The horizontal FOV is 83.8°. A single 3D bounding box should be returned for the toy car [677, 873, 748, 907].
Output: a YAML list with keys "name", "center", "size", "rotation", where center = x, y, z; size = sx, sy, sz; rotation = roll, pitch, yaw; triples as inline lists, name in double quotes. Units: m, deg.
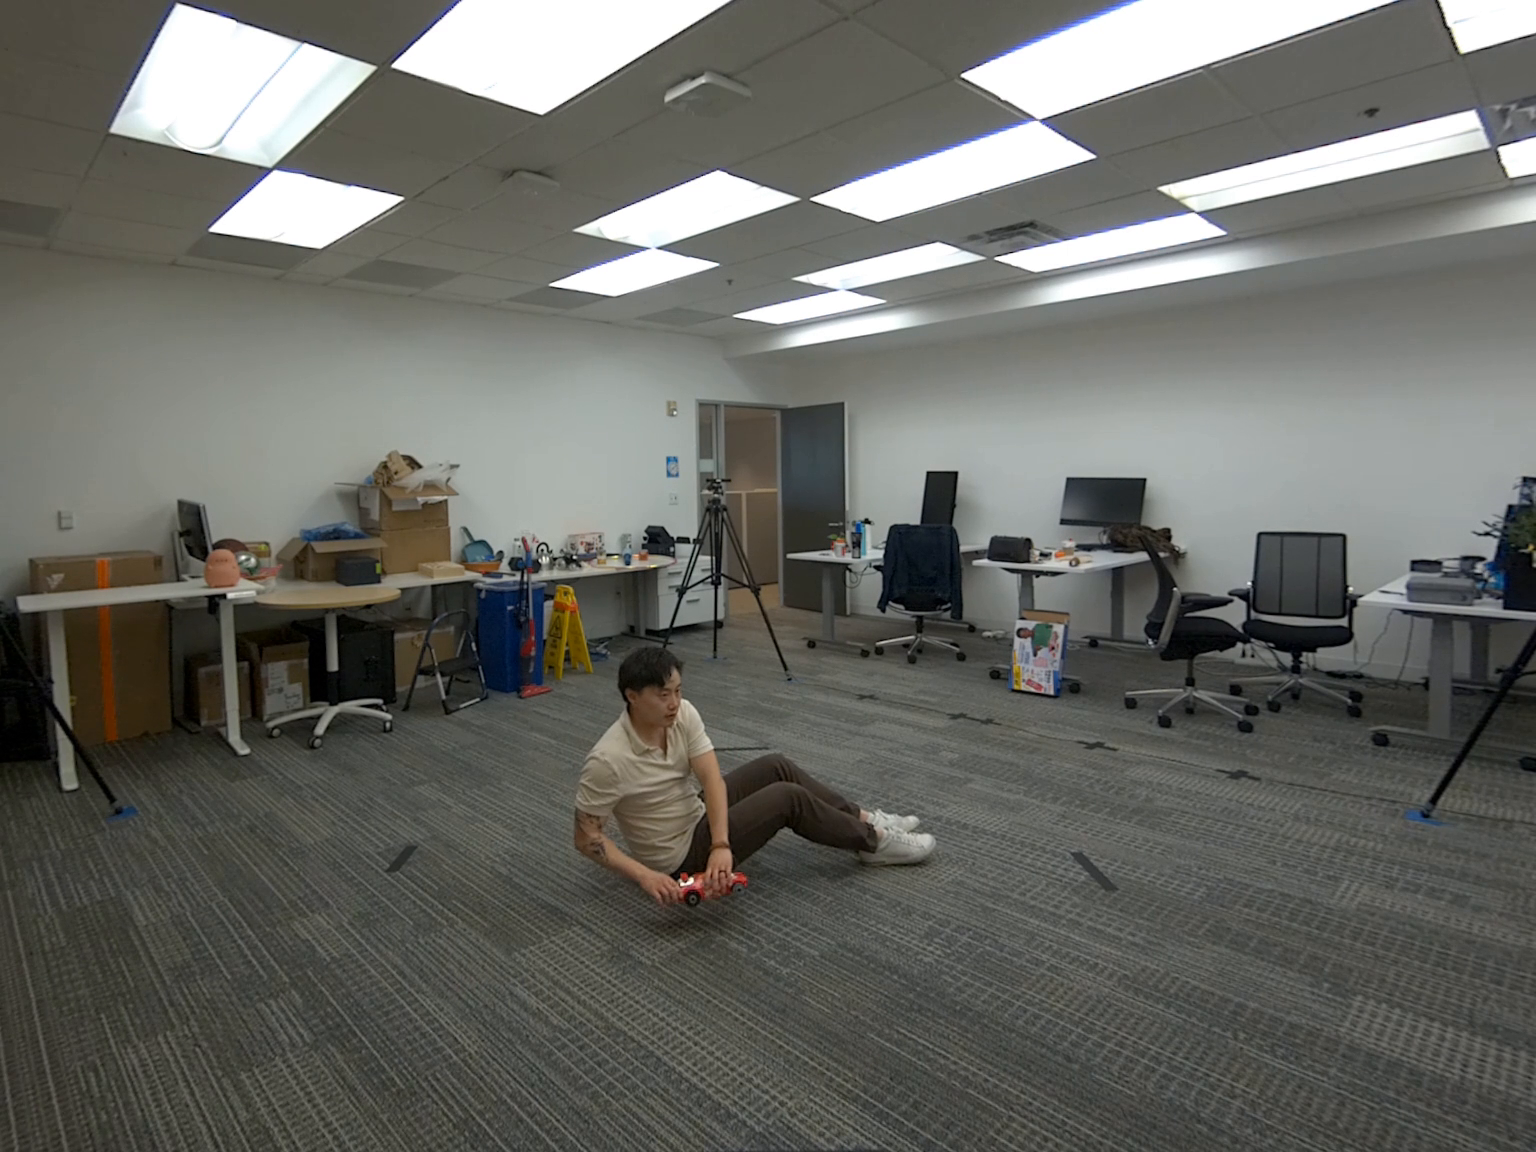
- name: "toy car"
  center: [-0.197, 0.967, 2.679]
  size: [0.252, 0.084, 0.131]
  rotation: [2, -7, -11]
